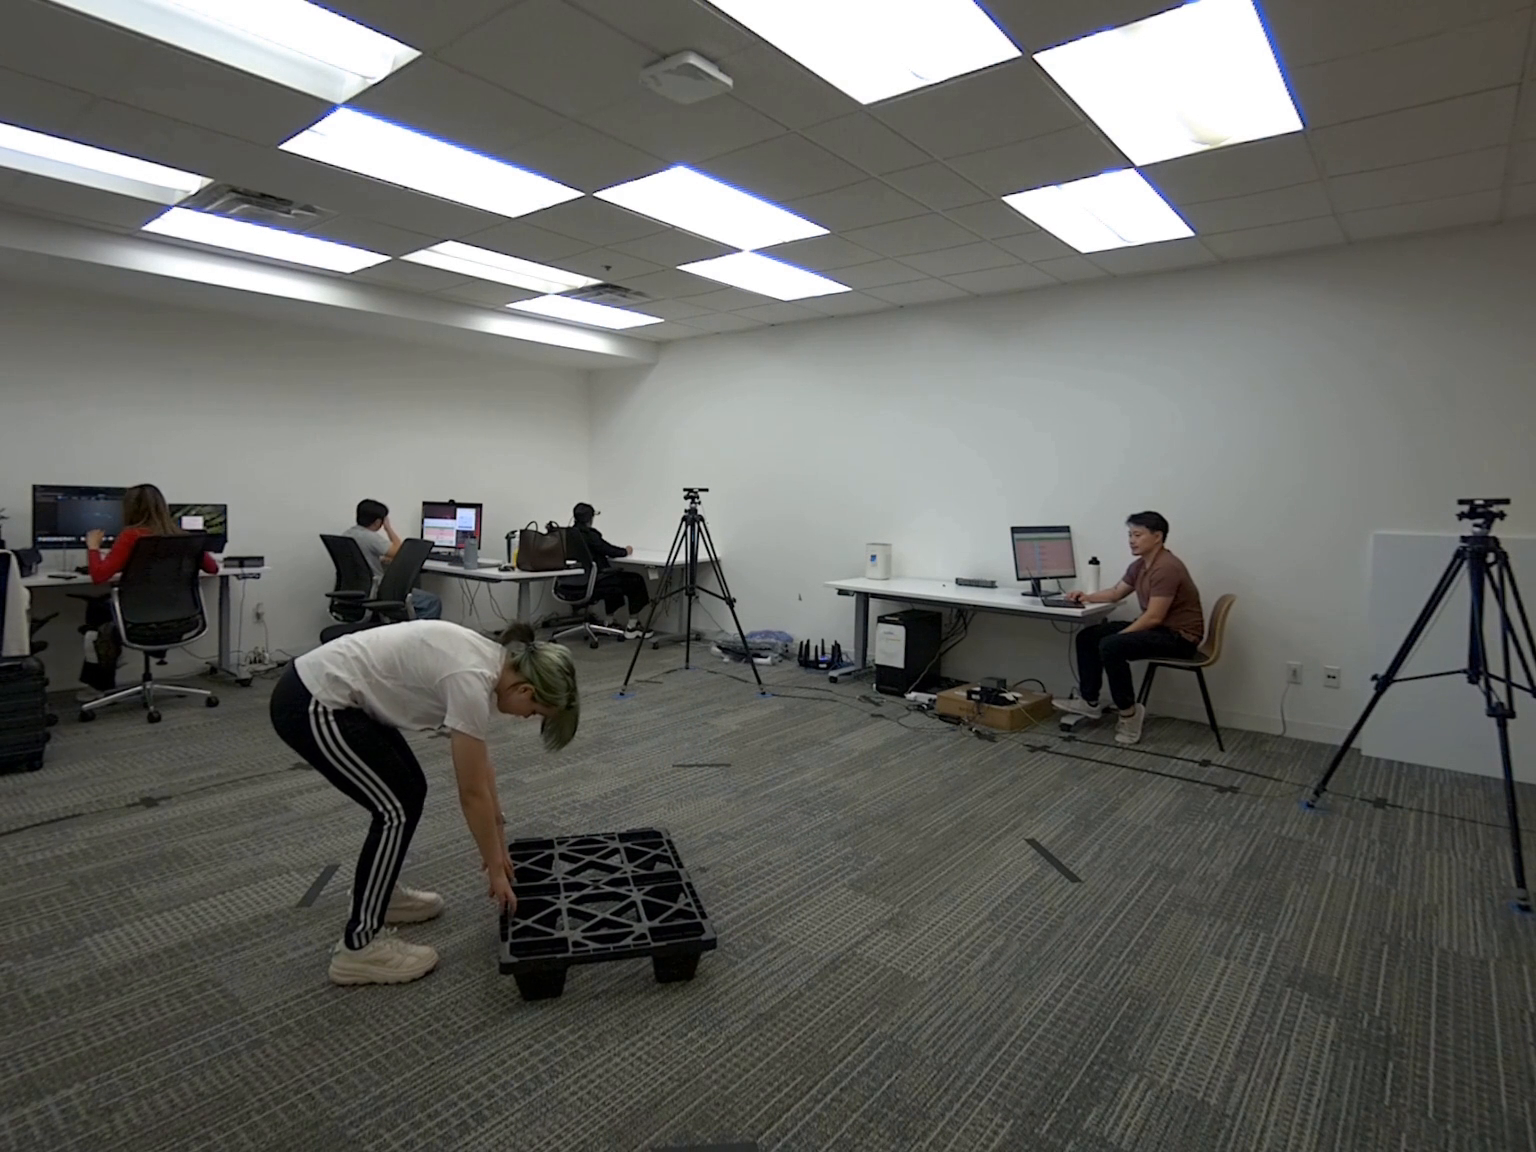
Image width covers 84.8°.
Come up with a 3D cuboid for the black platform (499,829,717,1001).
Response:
[{"bbox_3d":[-0.553,1.036,2.696,0.596,0.143,0.822,-2,6,-16],"label":"black platform"}]
